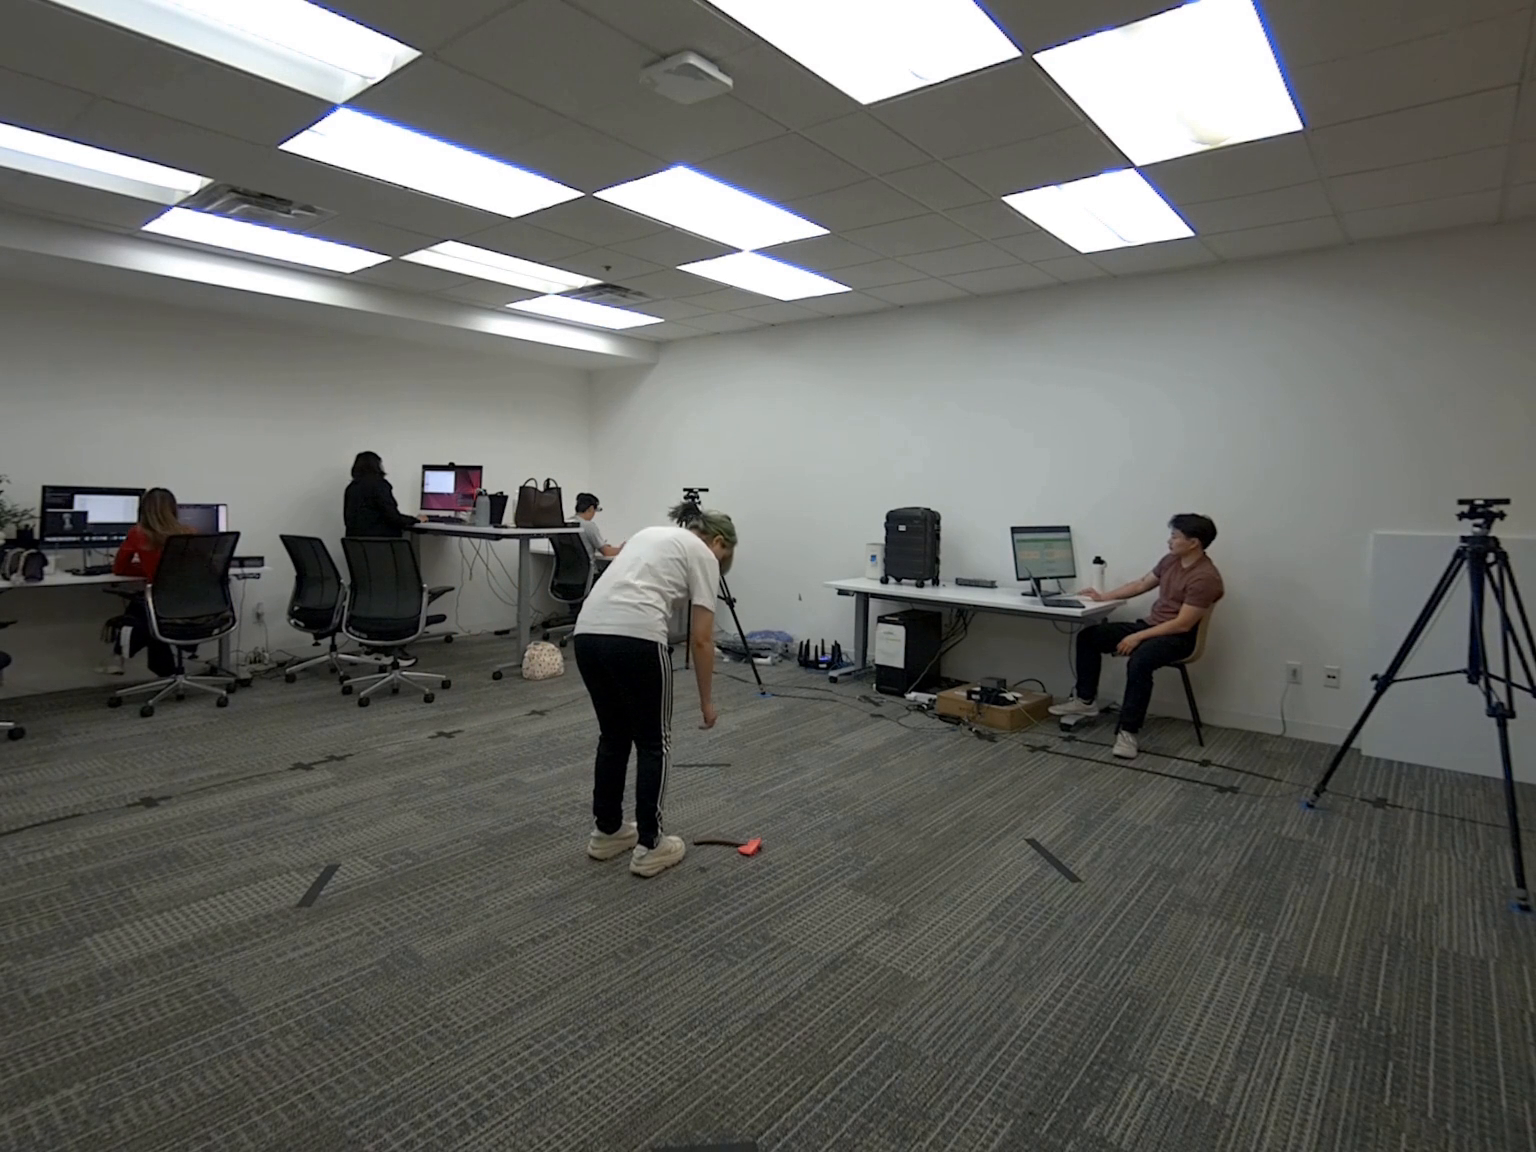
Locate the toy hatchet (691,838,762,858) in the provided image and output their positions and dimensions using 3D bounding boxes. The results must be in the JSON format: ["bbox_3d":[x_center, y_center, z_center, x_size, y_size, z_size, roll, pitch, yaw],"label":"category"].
[{"bbox_3d":[-0.169,1.051,3.281,0.270,0.029,0.132,-2,10,1],"label":"toy hatchet"}]
